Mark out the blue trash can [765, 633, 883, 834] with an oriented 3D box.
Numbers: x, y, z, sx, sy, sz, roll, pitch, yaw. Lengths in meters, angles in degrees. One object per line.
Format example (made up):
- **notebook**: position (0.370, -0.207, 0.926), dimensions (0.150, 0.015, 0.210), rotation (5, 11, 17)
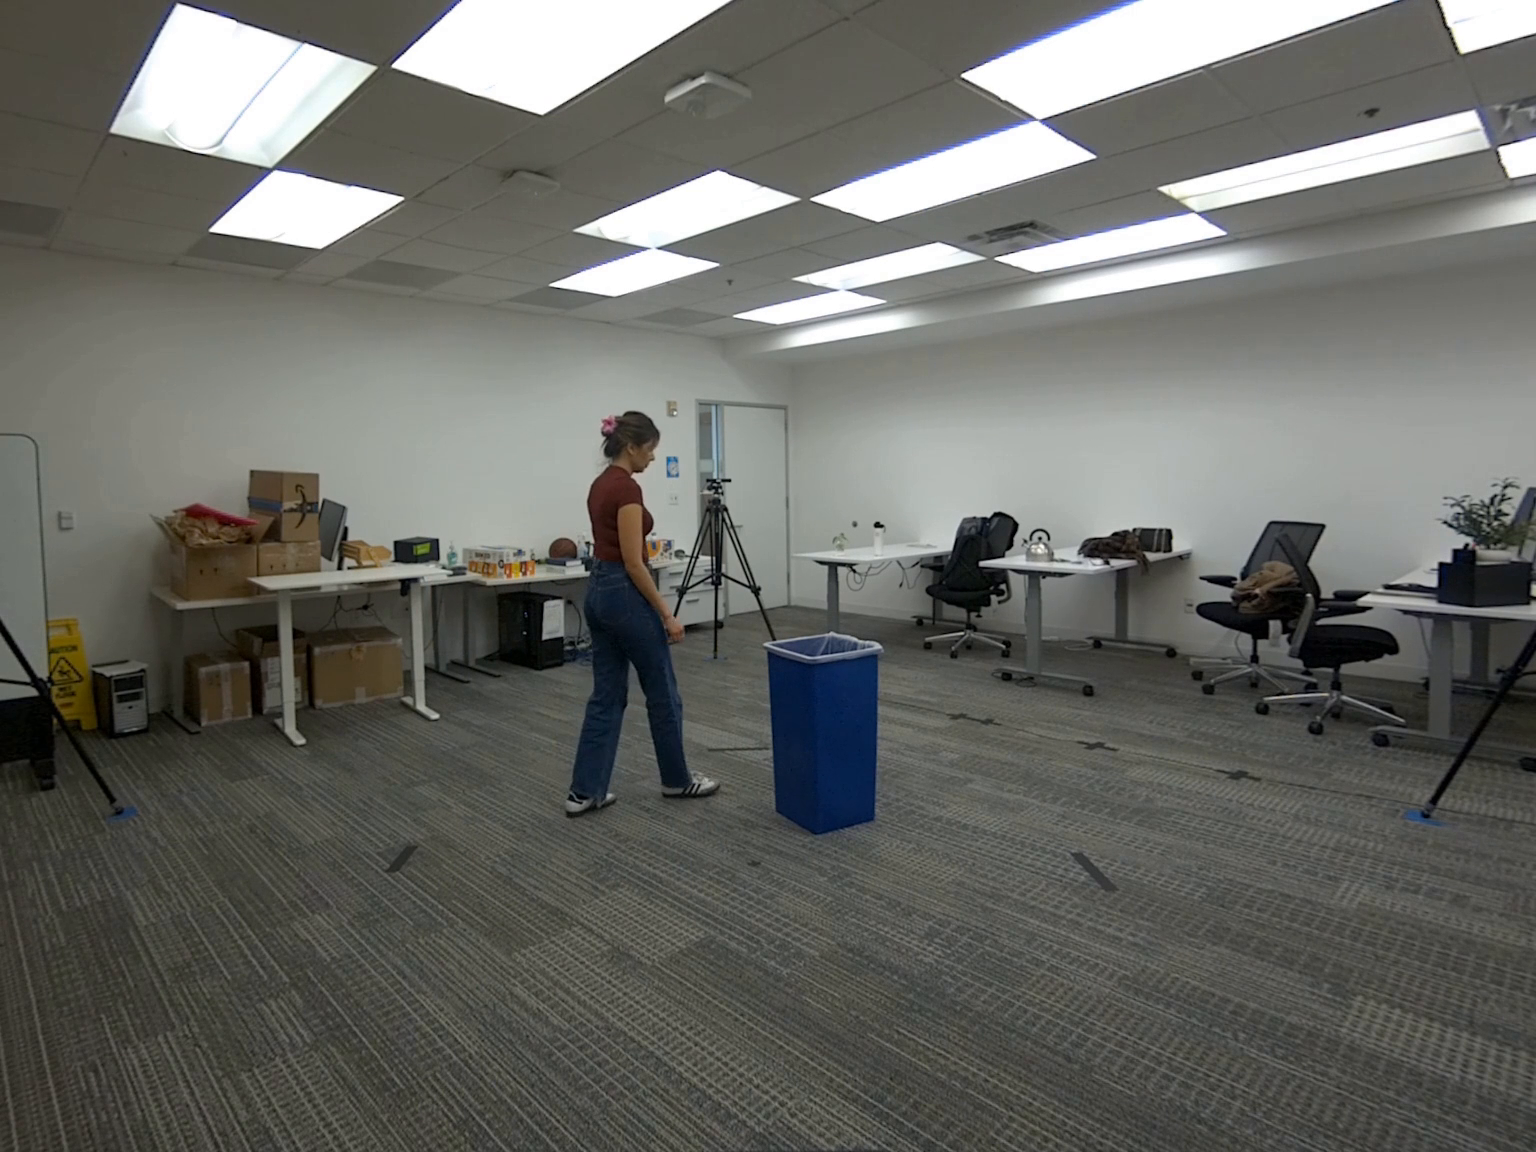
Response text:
- **blue trash can**: position (0.229, 0.637, 3.512), dimensions (0.365, 0.711, 0.389), rotation (-3, 5, -32)
